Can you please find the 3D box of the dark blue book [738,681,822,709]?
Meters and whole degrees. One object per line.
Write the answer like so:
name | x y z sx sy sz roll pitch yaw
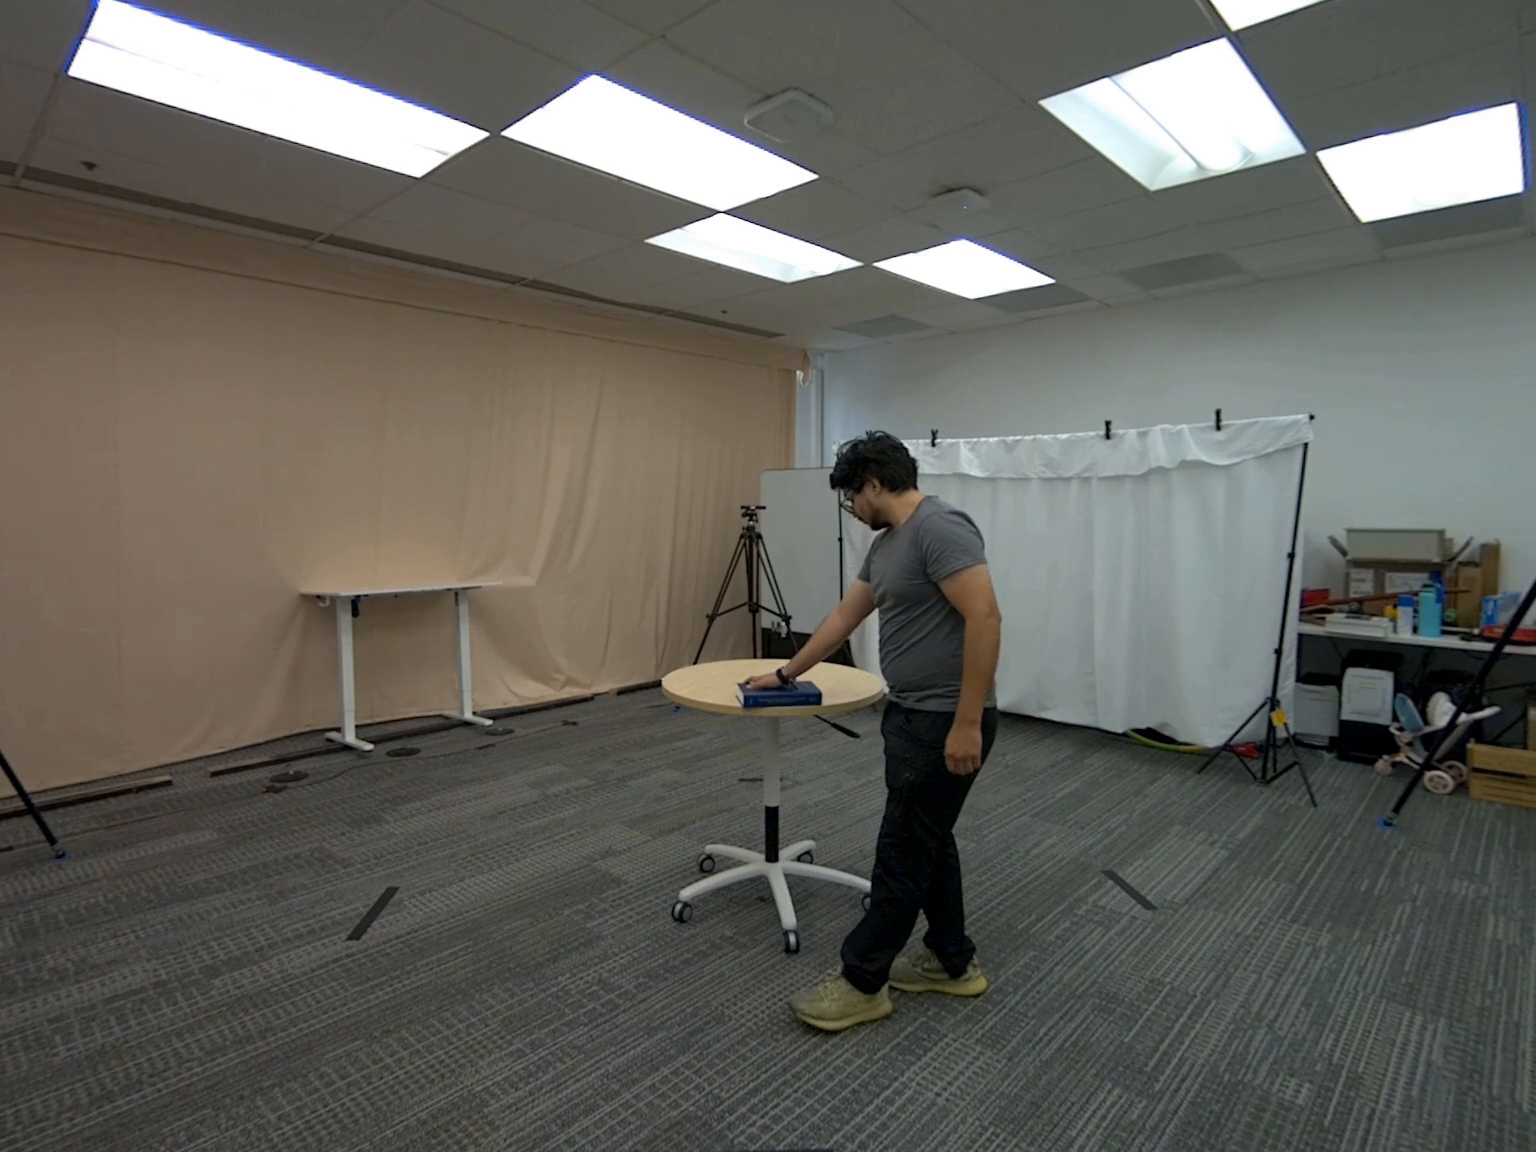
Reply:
dark blue book | 0.032 0.374 2.631 0.243 0.045 0.165 0 5 -7
